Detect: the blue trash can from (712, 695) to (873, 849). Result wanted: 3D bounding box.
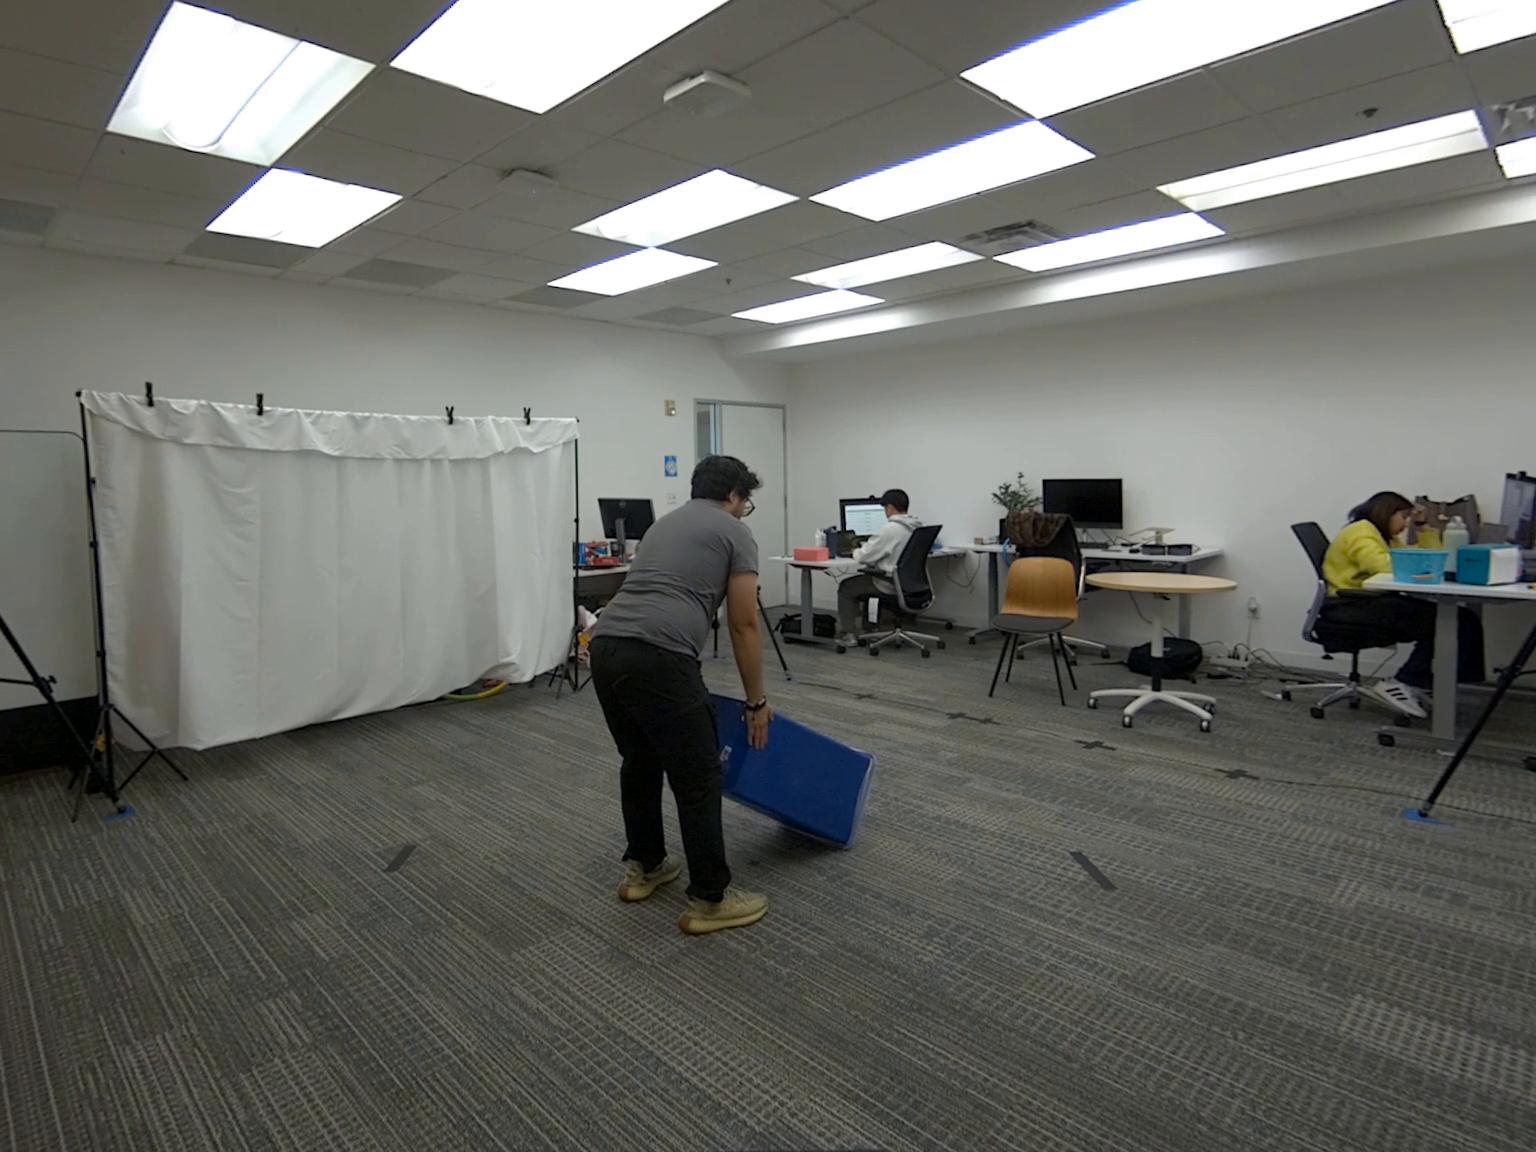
[{"bbox_3d":[0.030,0.708,3.132,0.386,0.381,0.686,5,-22,42],"label":"blue trash can"}]
